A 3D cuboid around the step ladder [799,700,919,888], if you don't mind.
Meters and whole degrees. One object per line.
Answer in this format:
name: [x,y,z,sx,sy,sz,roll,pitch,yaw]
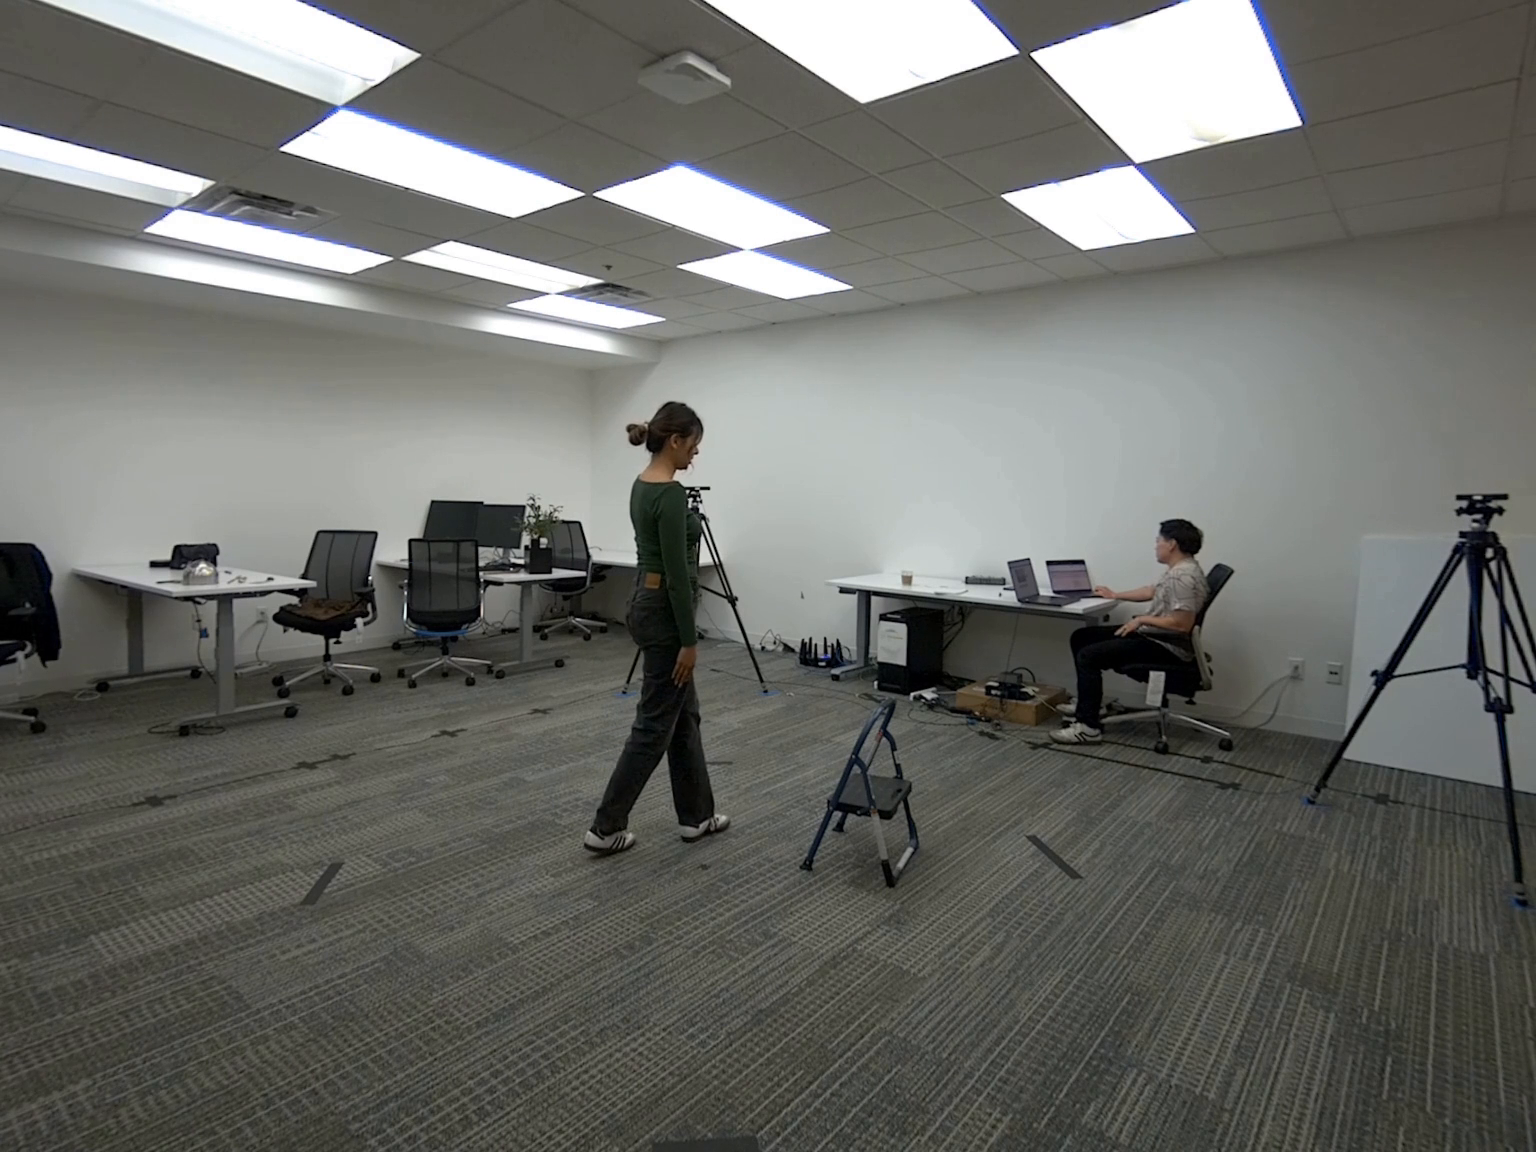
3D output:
step ladder: [0.355,0.762,3.215,0.358,0.604,0.422,2,4,23]
